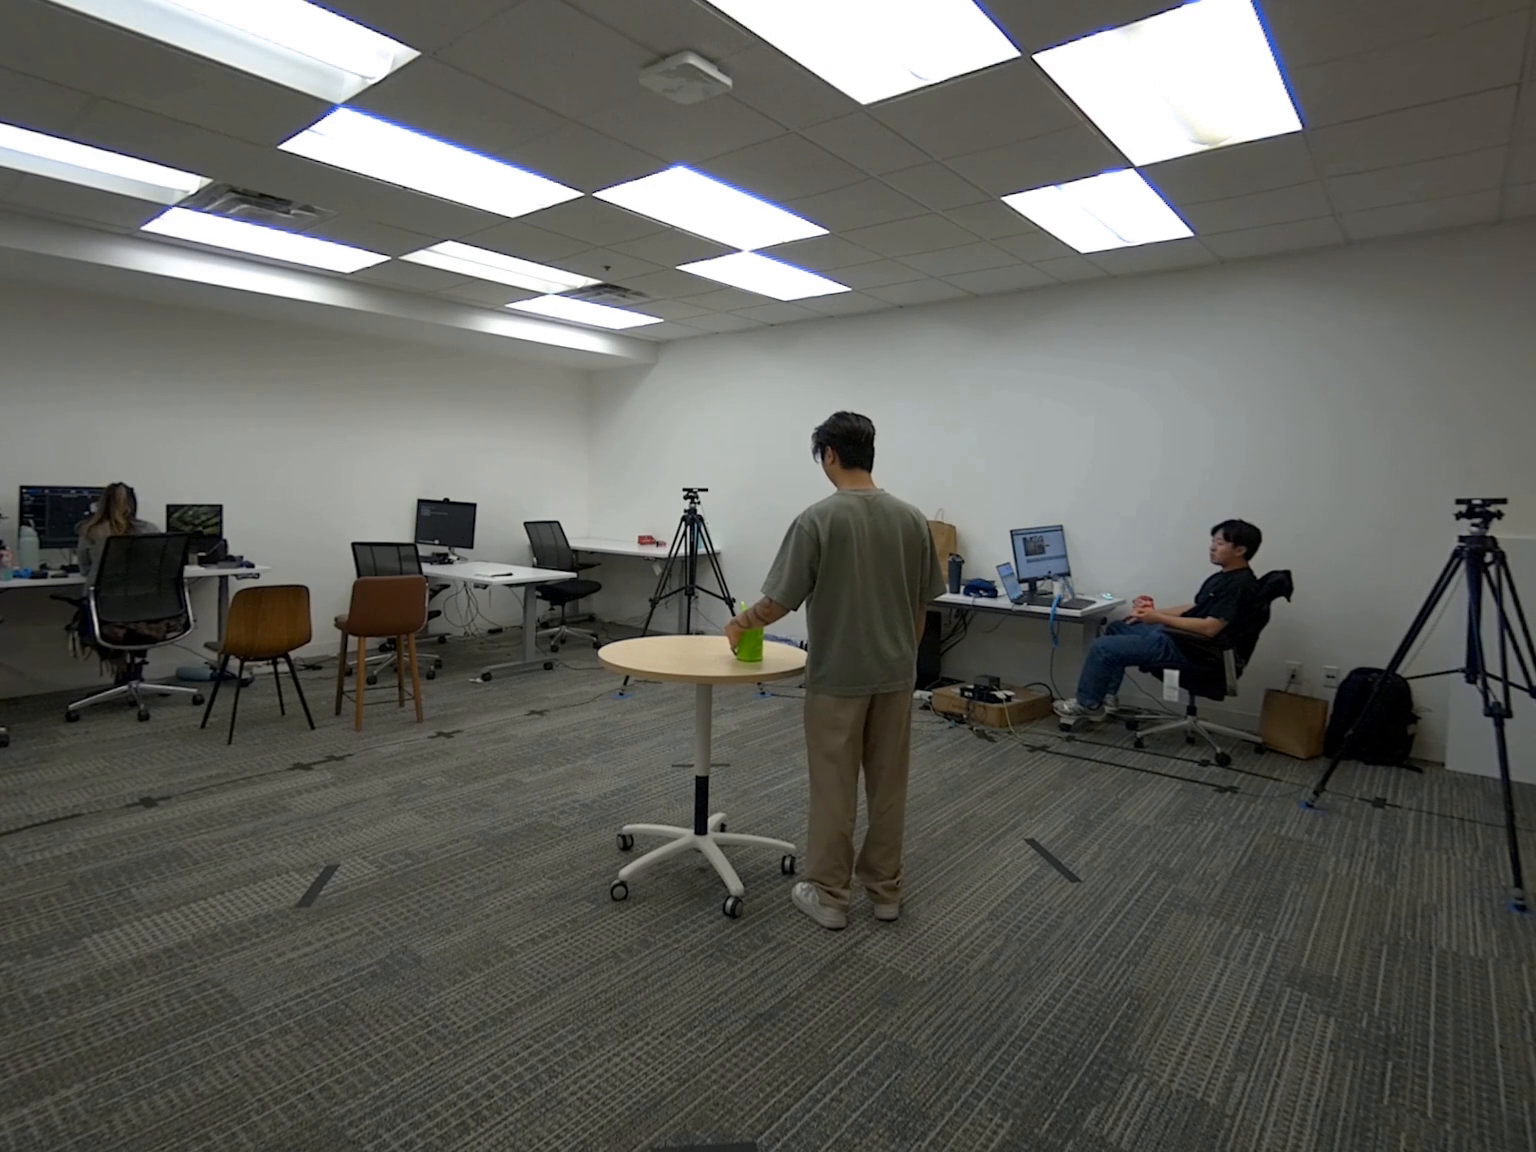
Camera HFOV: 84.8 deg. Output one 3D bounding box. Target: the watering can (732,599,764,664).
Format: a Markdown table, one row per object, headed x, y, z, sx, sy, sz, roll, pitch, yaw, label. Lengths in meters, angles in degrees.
| x | y | z | sx | sy | sz | roll | pitch | yaw | label |
| --- | --- | --- | --- | --- | --- | --- | --- | --- | --- |
| -0.070 | 0.198 | 3.026 | 0.099 | 0.176 | 0.276 | 1 | 6 | 10 | watering can |
